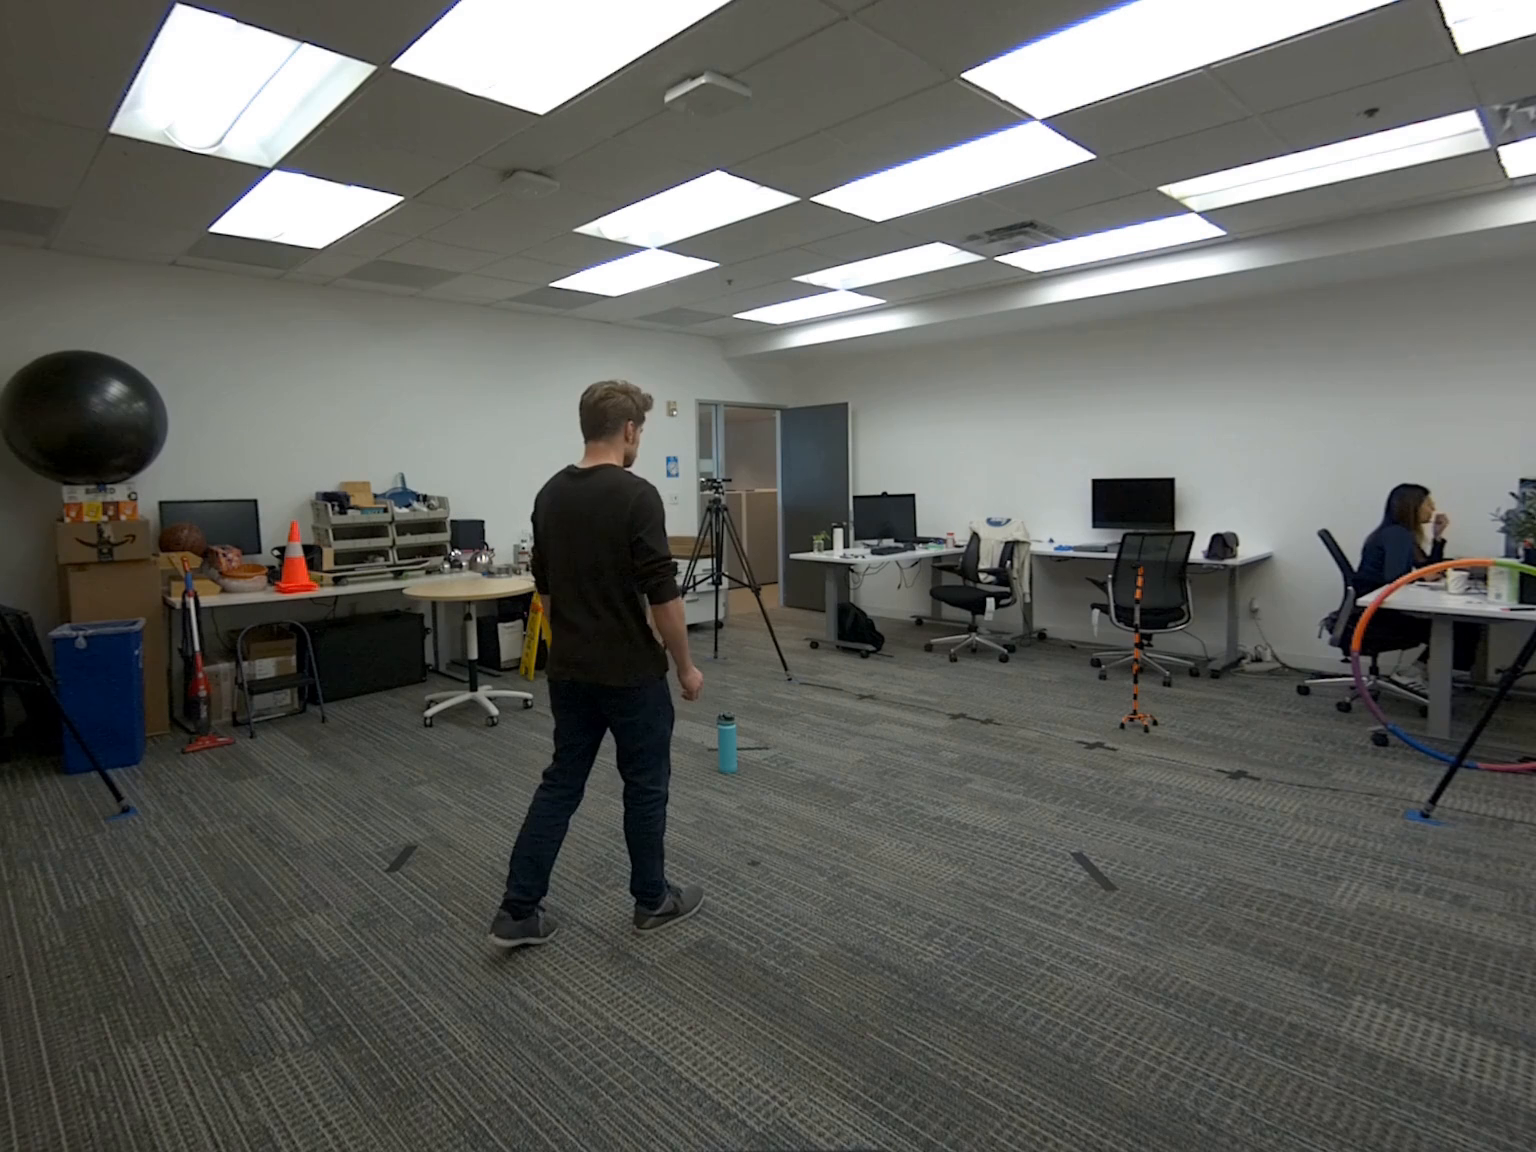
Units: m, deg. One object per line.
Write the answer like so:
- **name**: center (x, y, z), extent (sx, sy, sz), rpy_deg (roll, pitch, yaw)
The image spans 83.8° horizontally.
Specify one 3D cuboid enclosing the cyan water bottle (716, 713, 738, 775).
- **cyan water bottle**: center (-0.197, 0.797, 4.113), extent (0.092, 0.283, 0.092), rpy_deg (-2, 2, -2)
